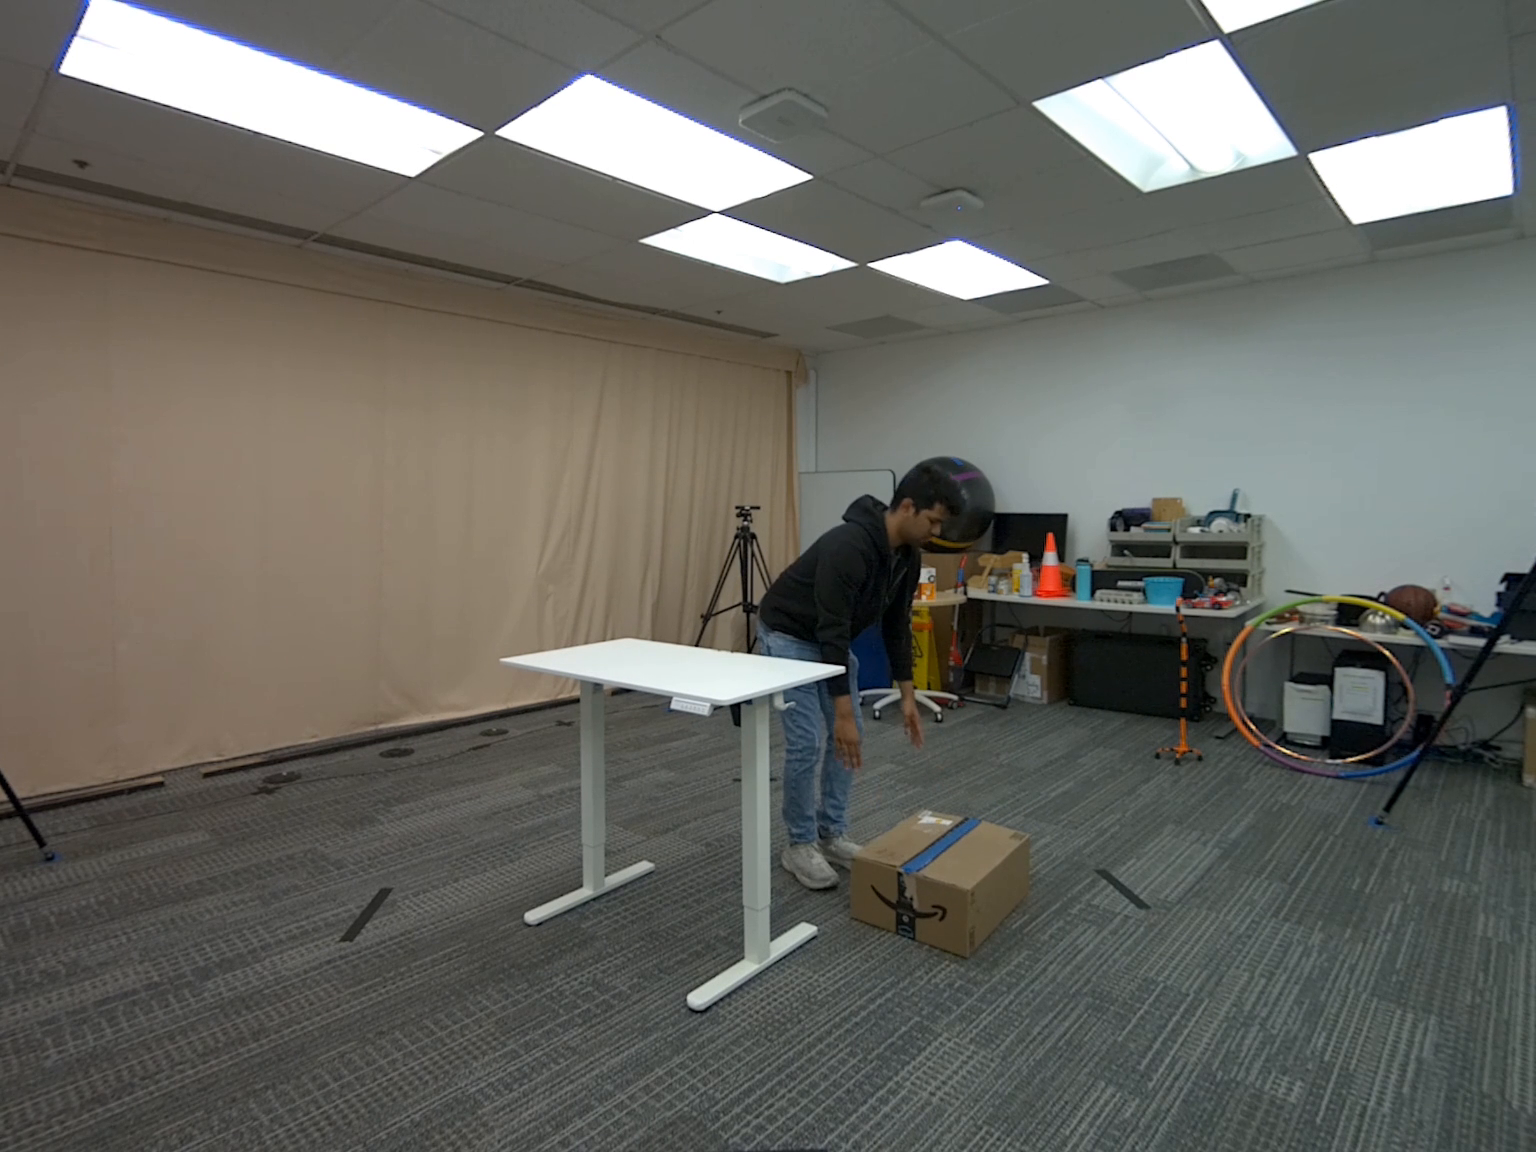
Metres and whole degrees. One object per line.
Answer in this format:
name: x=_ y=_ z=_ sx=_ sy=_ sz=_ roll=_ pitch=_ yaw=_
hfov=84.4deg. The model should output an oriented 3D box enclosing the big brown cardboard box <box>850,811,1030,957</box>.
big brown cardboard box: x=0.617 y=1.038 z=2.923 sx=0.431 sy=0.232 sz=0.572 roll=3 pitch=6 yaw=36
